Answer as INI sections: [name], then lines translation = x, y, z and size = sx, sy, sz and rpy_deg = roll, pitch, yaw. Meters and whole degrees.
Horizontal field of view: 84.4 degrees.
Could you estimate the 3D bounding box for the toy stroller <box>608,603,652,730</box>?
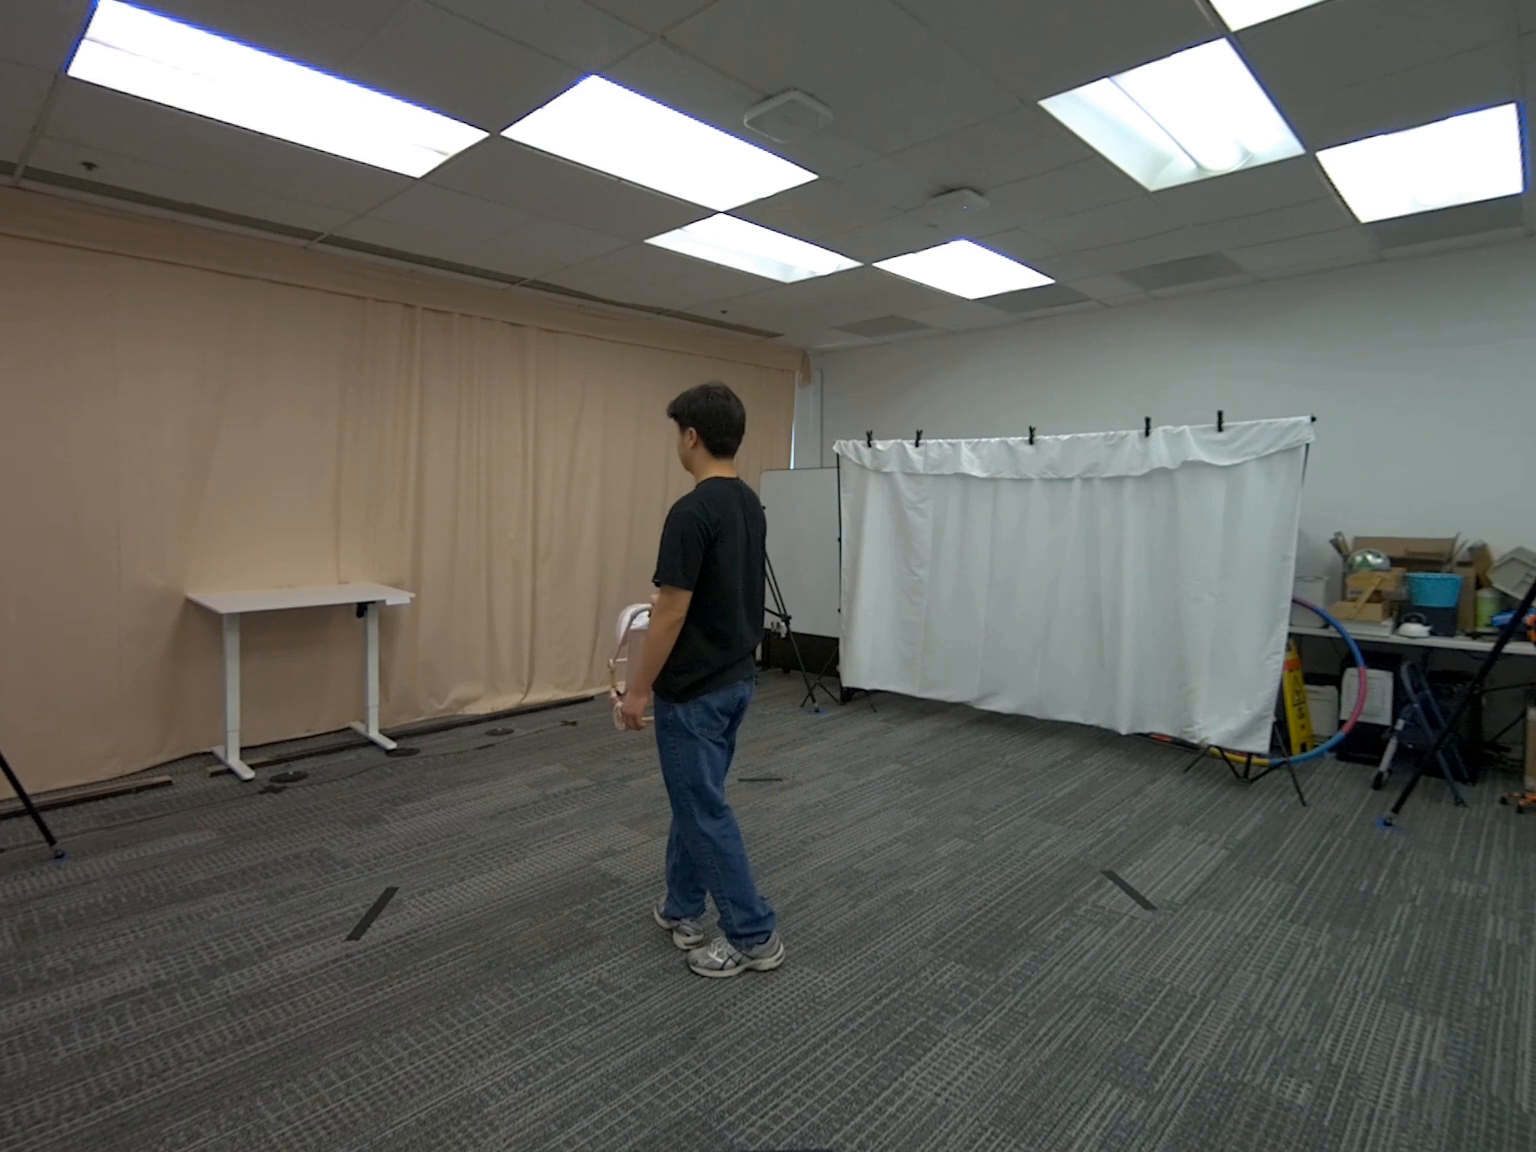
[toy stroller]
translation = -0.480, 0.346, 3.246
size = 0.274, 0.533, 0.351
rpy_deg = -1, 6, -27
